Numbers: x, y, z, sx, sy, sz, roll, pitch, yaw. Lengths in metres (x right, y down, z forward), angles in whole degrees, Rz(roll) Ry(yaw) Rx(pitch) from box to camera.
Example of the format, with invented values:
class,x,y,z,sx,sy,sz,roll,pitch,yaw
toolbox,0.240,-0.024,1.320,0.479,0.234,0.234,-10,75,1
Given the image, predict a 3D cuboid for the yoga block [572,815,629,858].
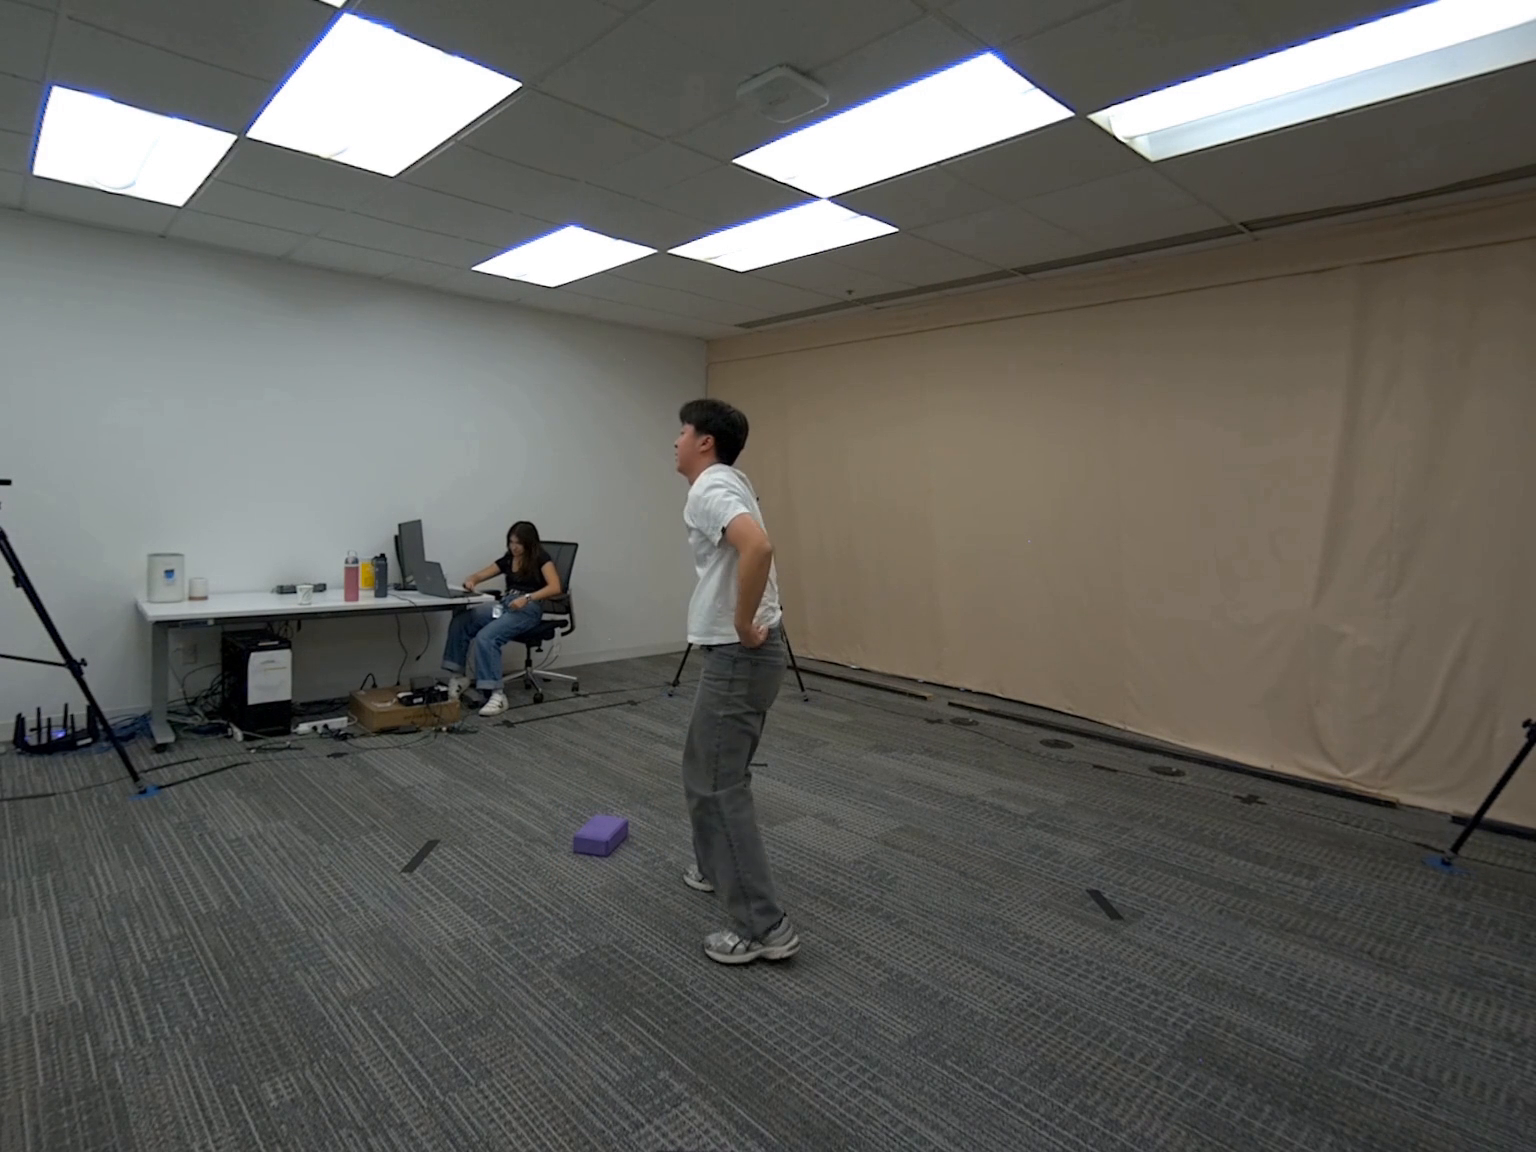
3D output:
class,x,y,z,sx,sy,sz,roll,pitch,yaw
yoga block,-0.677,1.039,3.355,0.151,0.076,0.227,4,6,13
